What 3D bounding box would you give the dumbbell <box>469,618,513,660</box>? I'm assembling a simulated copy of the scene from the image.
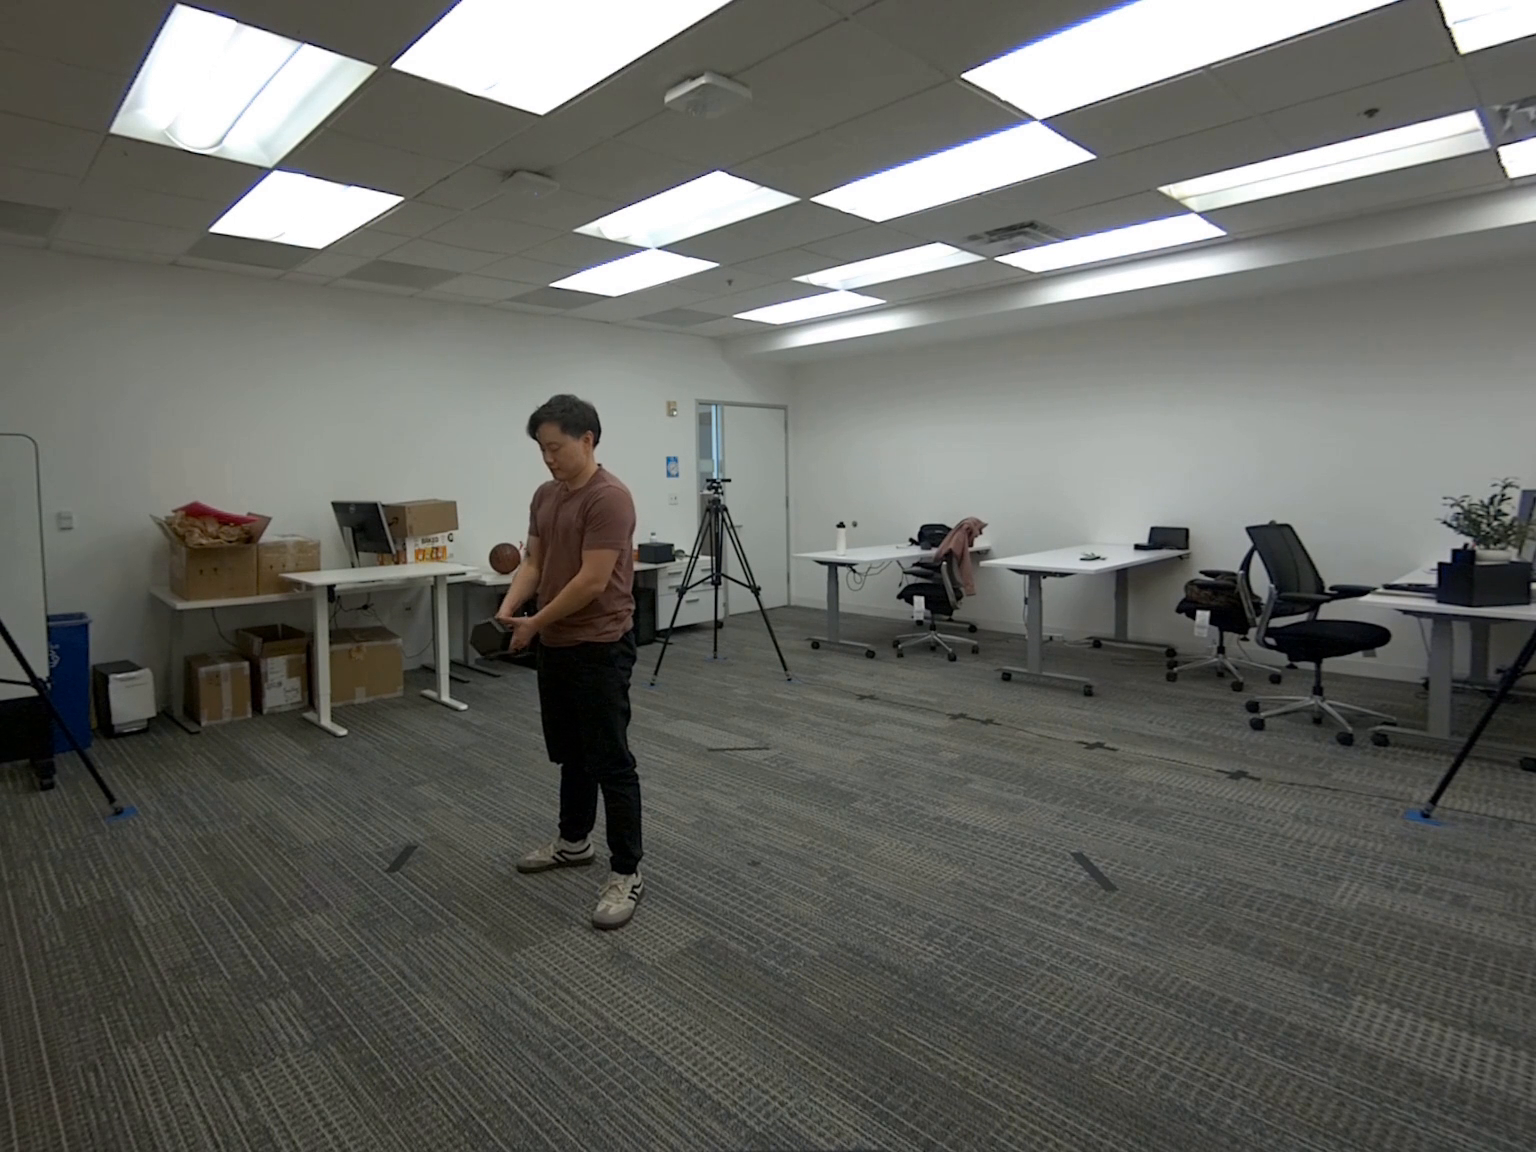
[{"bbox_3d":[-0.842,0.196,2.739,0.109,0.125,0.289,-45,-10,5],"label":"dumbbell"}]
